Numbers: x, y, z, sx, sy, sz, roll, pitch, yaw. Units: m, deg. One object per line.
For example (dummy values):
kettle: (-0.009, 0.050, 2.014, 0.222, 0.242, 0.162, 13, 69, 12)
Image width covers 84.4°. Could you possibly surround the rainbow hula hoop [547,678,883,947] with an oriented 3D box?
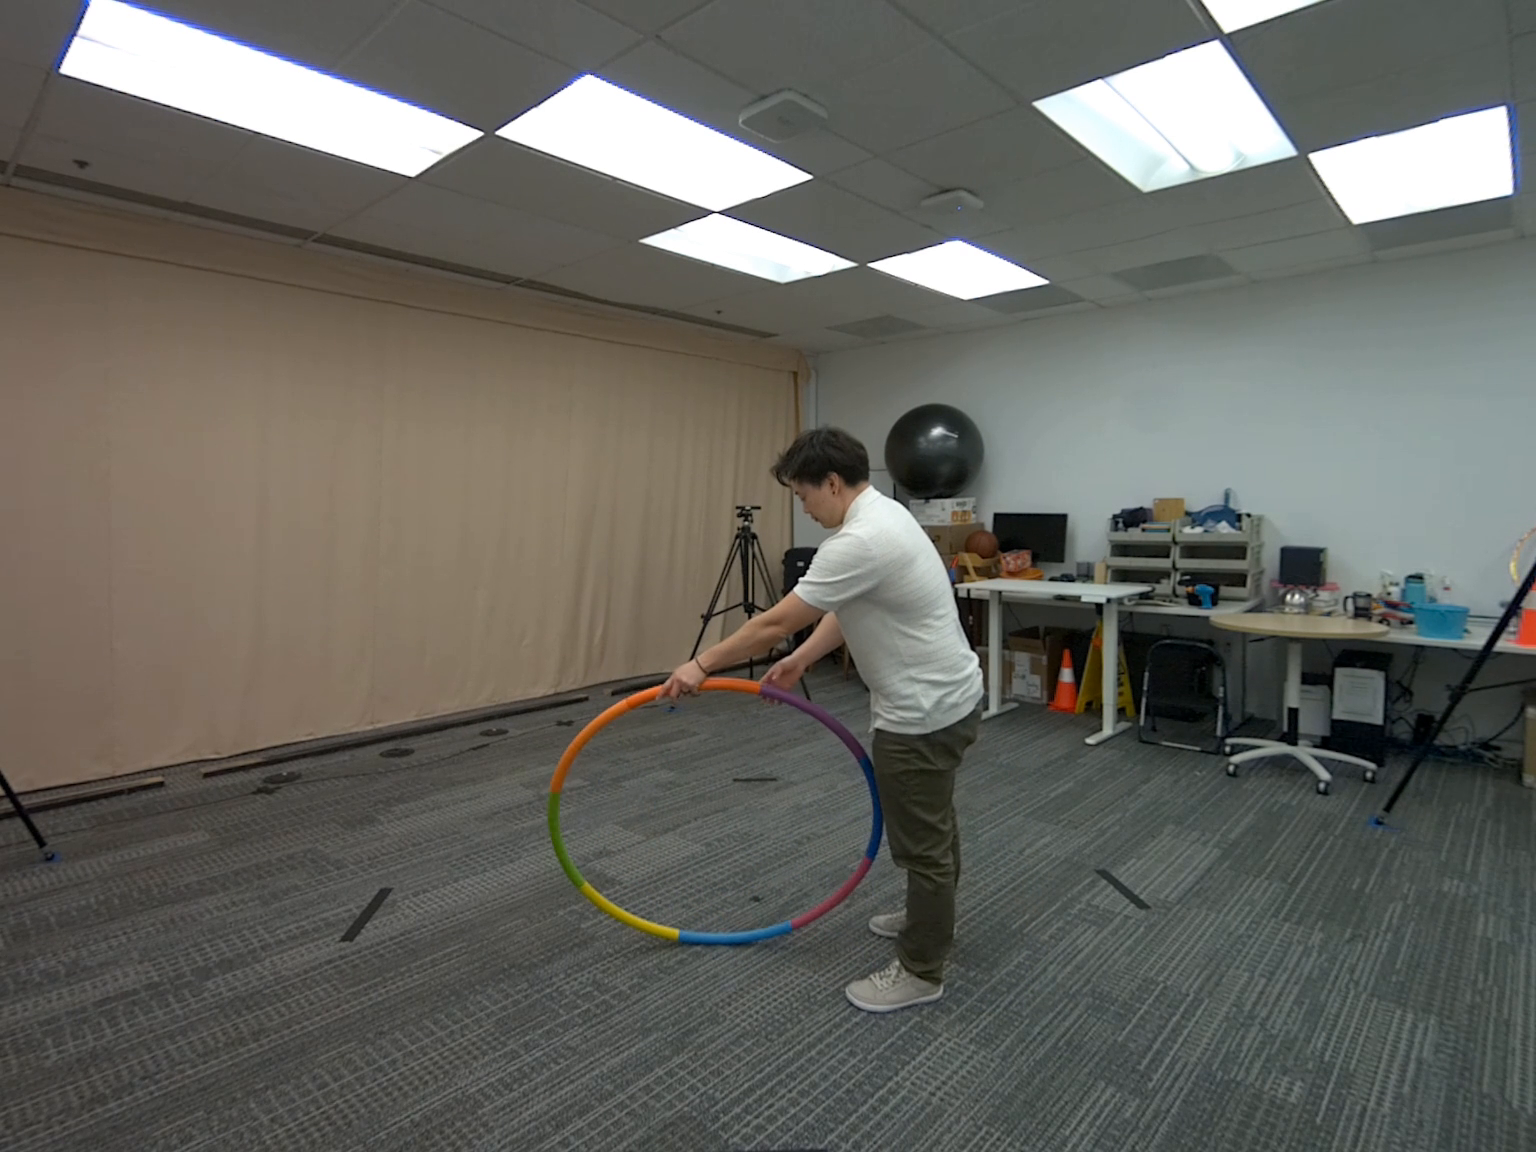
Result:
rainbow hula hoop: (-0.161, 0.729, 2.509, 0.978, 0.965, 0.036, 1, 23, -1)
